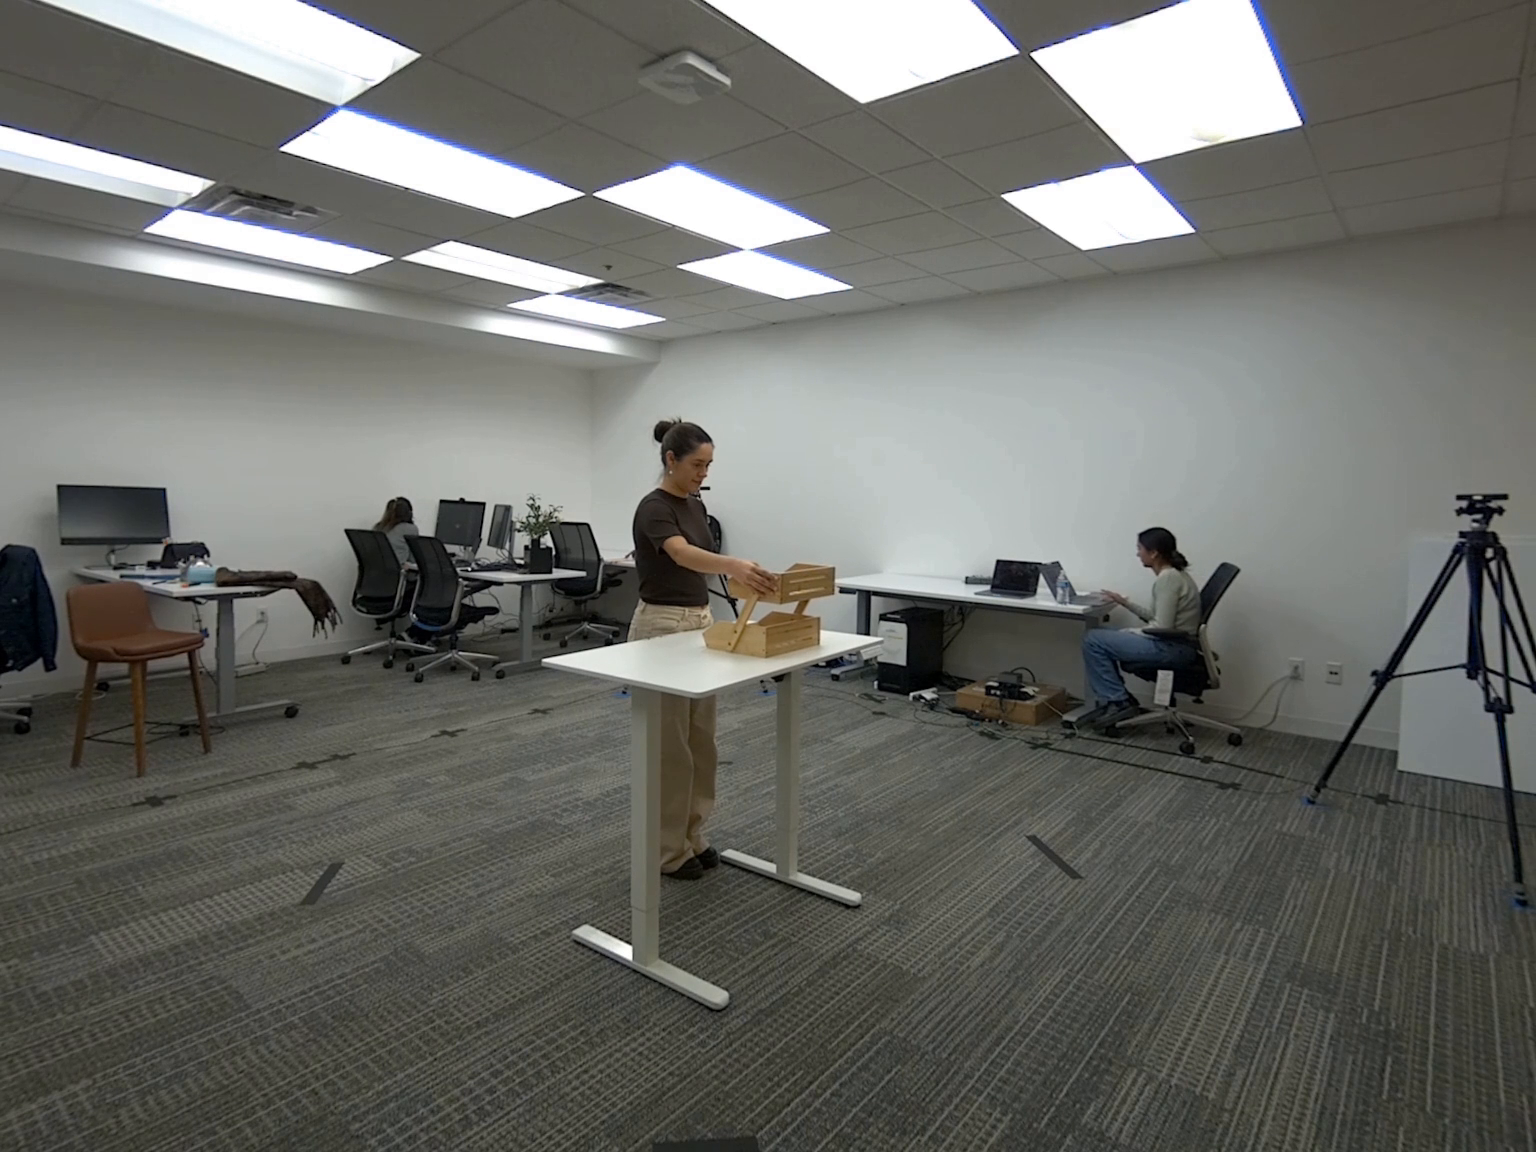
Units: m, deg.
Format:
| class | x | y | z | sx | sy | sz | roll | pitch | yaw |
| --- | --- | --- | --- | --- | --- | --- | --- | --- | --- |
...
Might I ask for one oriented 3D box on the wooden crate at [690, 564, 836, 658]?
| class | x | y | z | sx | sy | sz | roll | pitch | yaw |
| --- | --- | --- | --- | --- | --- | --- | --- | --- | --- |
| wooden crate | -0.003 | 0.094 | 2.711 | 0.312 | 0.272 | 0.315 | 6 | 7 | 37 |
